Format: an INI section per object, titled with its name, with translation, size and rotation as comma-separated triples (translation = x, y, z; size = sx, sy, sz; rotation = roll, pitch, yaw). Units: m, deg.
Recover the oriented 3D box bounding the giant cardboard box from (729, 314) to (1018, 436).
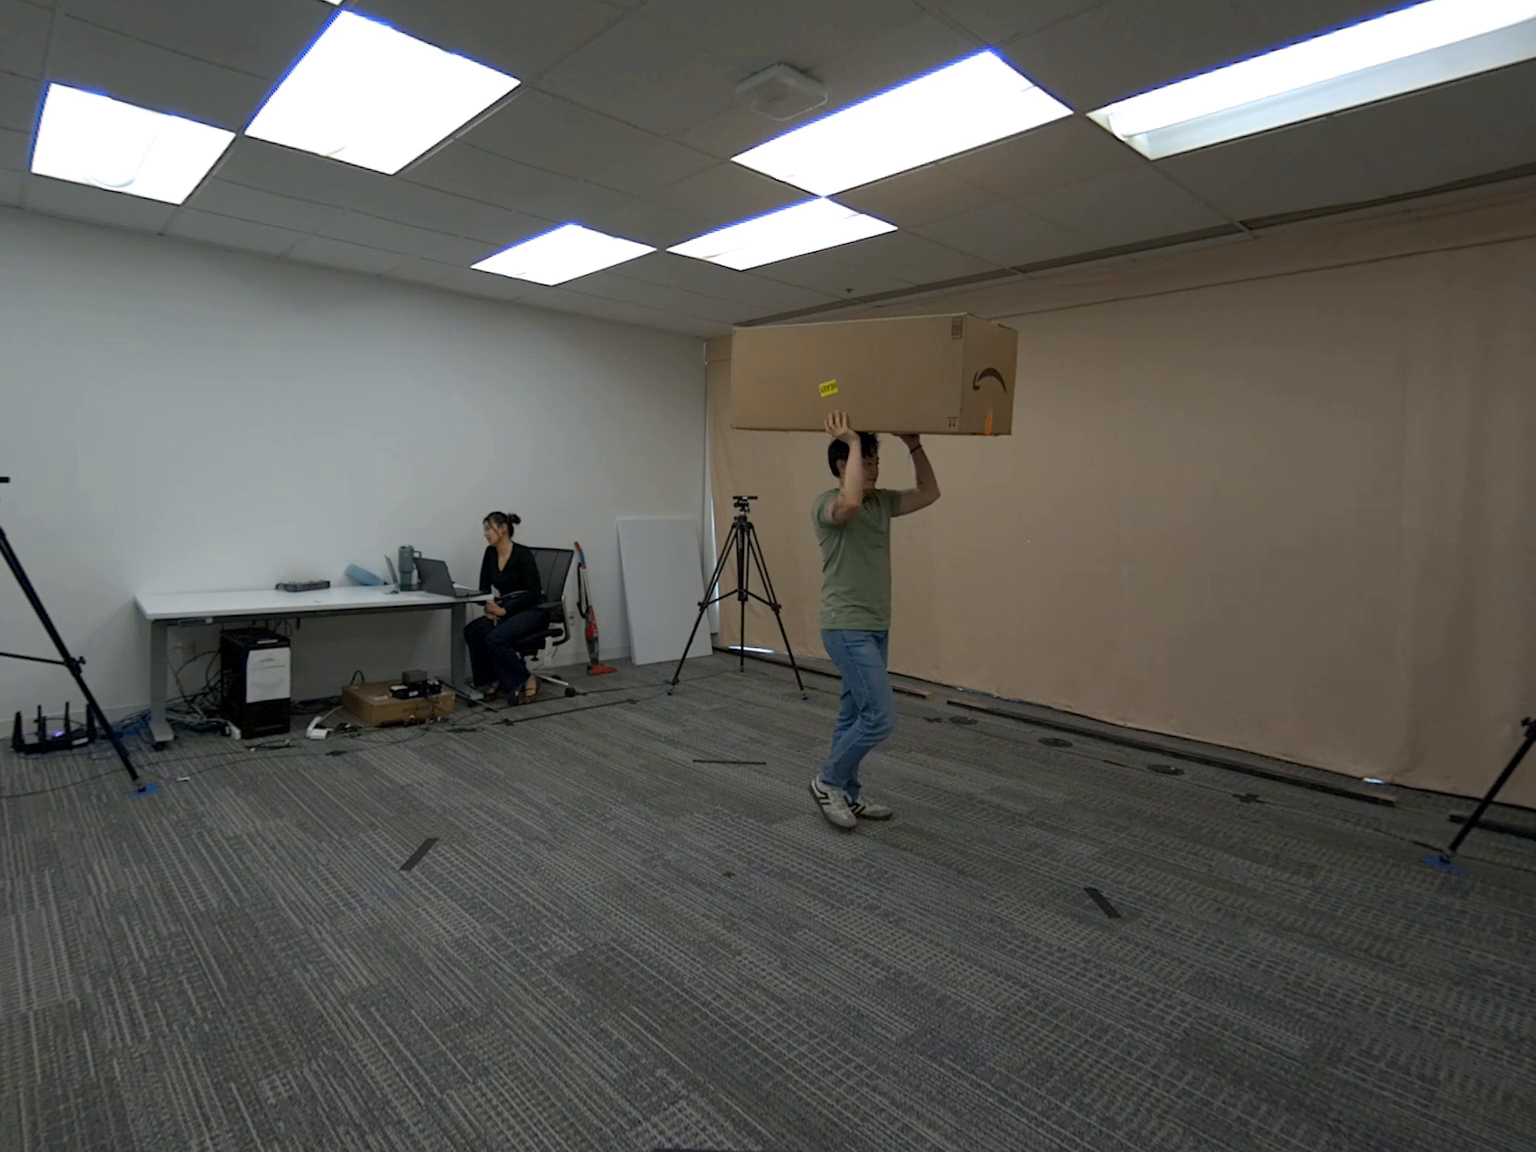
[giant cardboard box]
translation = 0.420, -0.813, 3.505
size = 1.051, 0.423, 0.567
rotation = 8, 11, 35
